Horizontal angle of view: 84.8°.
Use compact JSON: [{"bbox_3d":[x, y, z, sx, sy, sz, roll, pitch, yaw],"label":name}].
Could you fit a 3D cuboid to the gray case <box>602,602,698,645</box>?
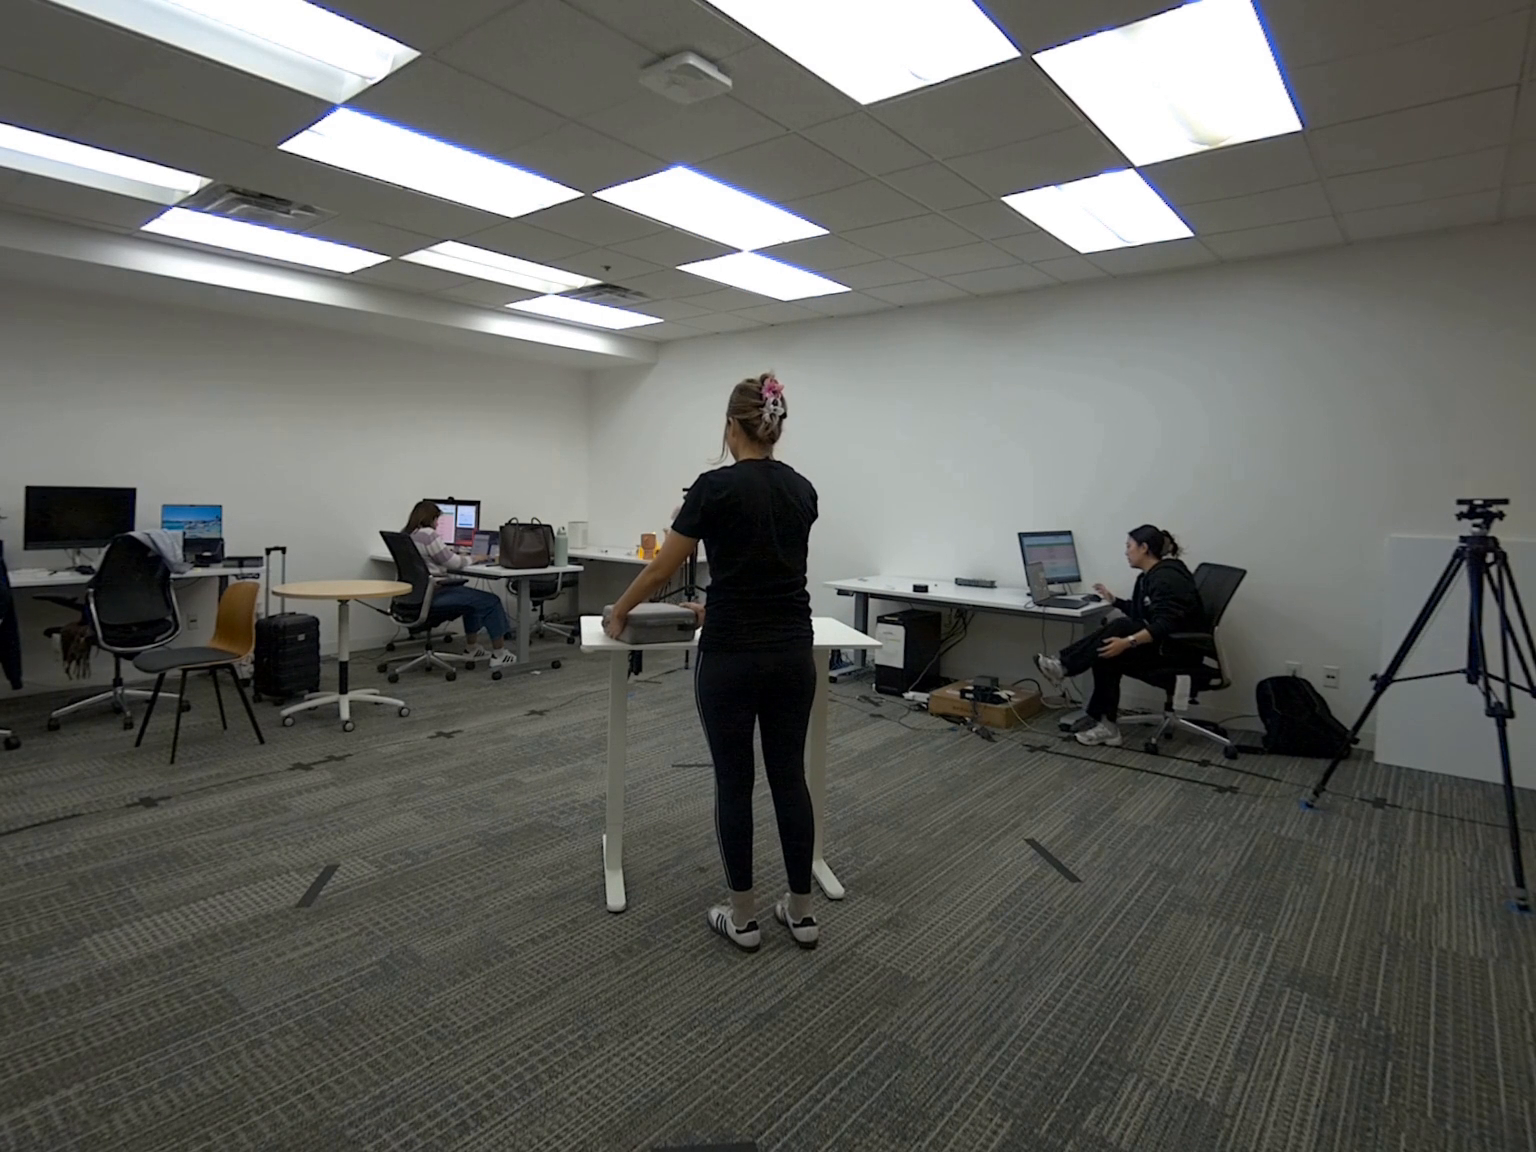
[{"bbox_3d":[-0.416,0.155,2.877,0.250,0.104,0.268,-2,6,-30],"label":"gray case"}]
